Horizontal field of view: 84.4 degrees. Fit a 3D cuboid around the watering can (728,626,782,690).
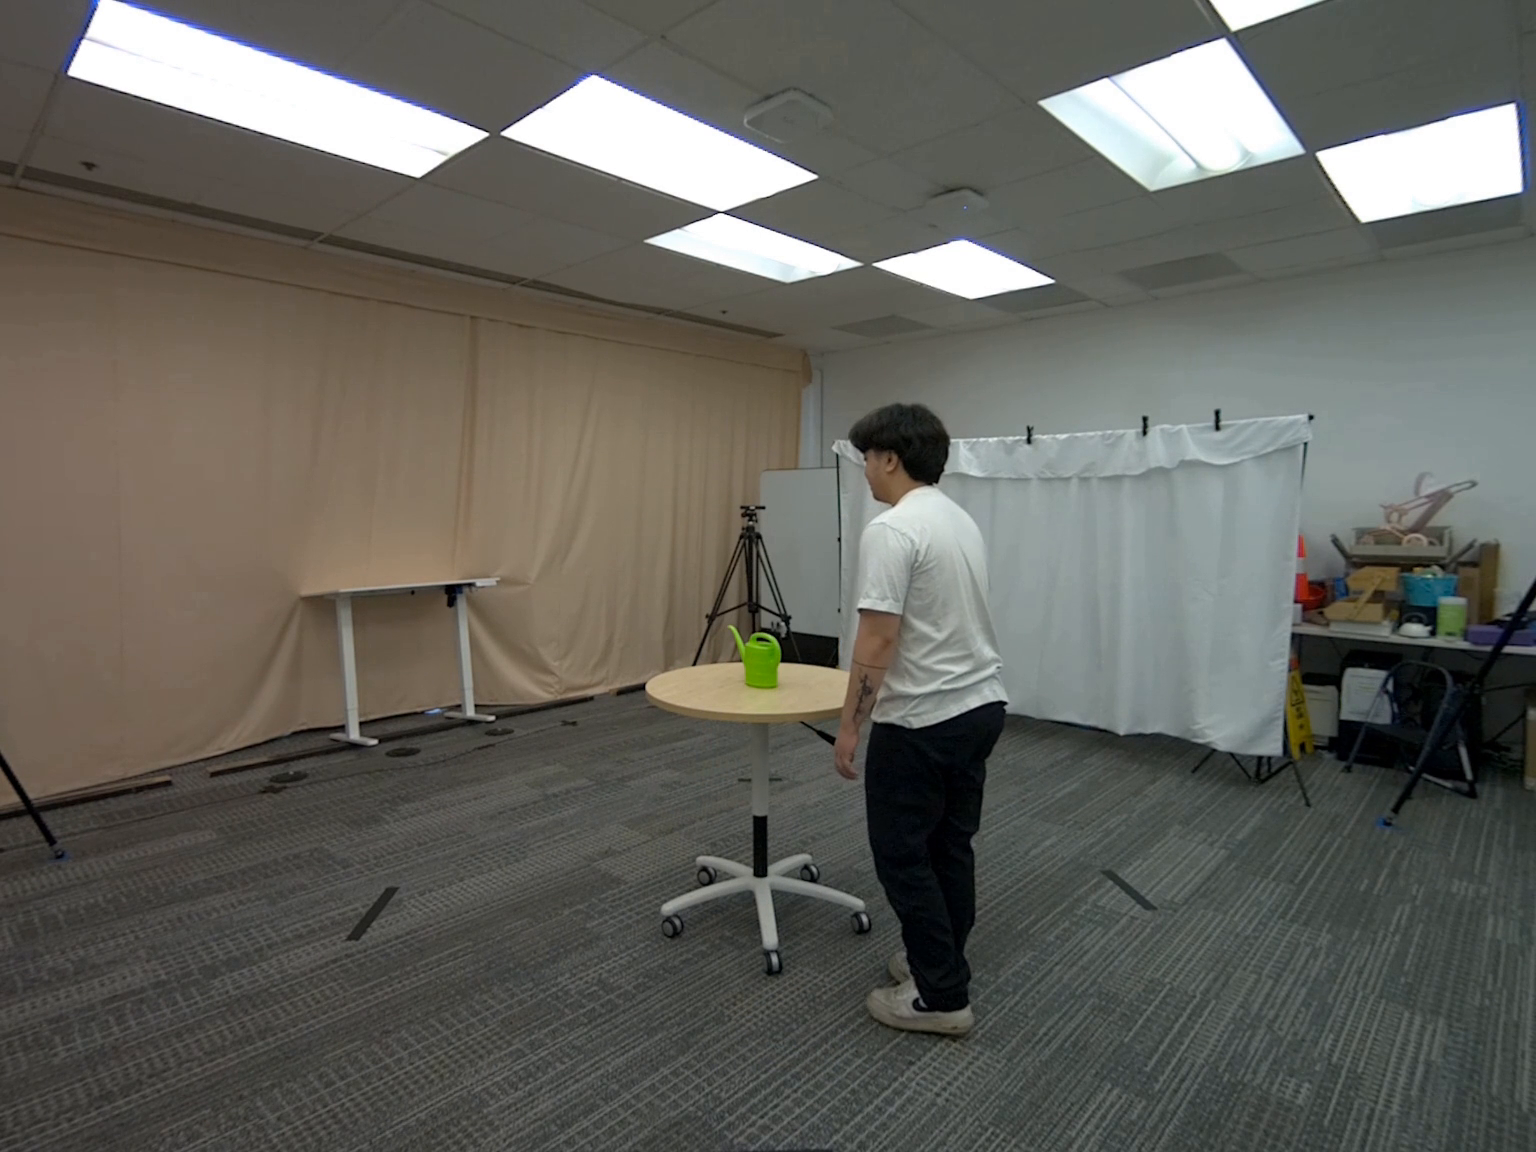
[{"bbox_3d":[-0.034,0.274,2.852,0.096,0.176,0.285,2,5,-24],"label":"watering can"}]
